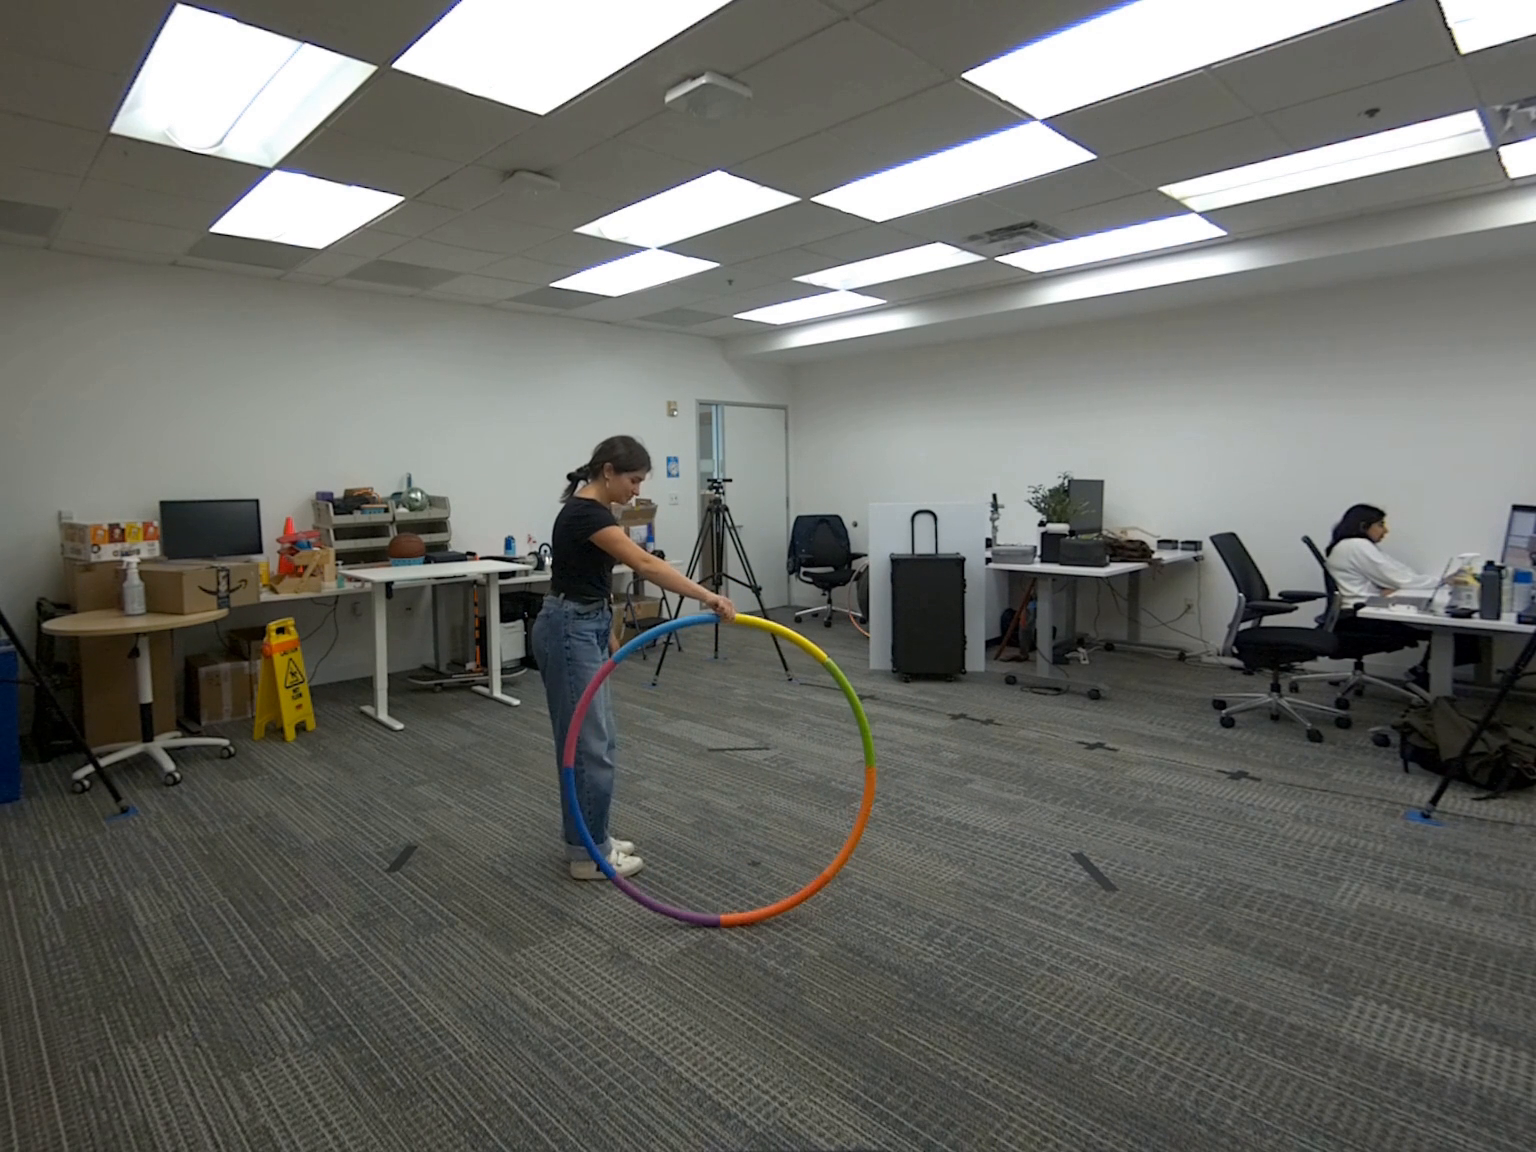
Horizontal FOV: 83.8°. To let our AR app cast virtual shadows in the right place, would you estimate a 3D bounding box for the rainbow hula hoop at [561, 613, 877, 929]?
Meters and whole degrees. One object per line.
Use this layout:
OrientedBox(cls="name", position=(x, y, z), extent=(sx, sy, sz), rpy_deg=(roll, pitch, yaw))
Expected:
OrientedBox(cls="rainbow hula hoop", position=(-0.147, 0.611, 2.730), extent=(0.977, 0.985, 0.035), rpy_deg=(-1, -7, -2))
